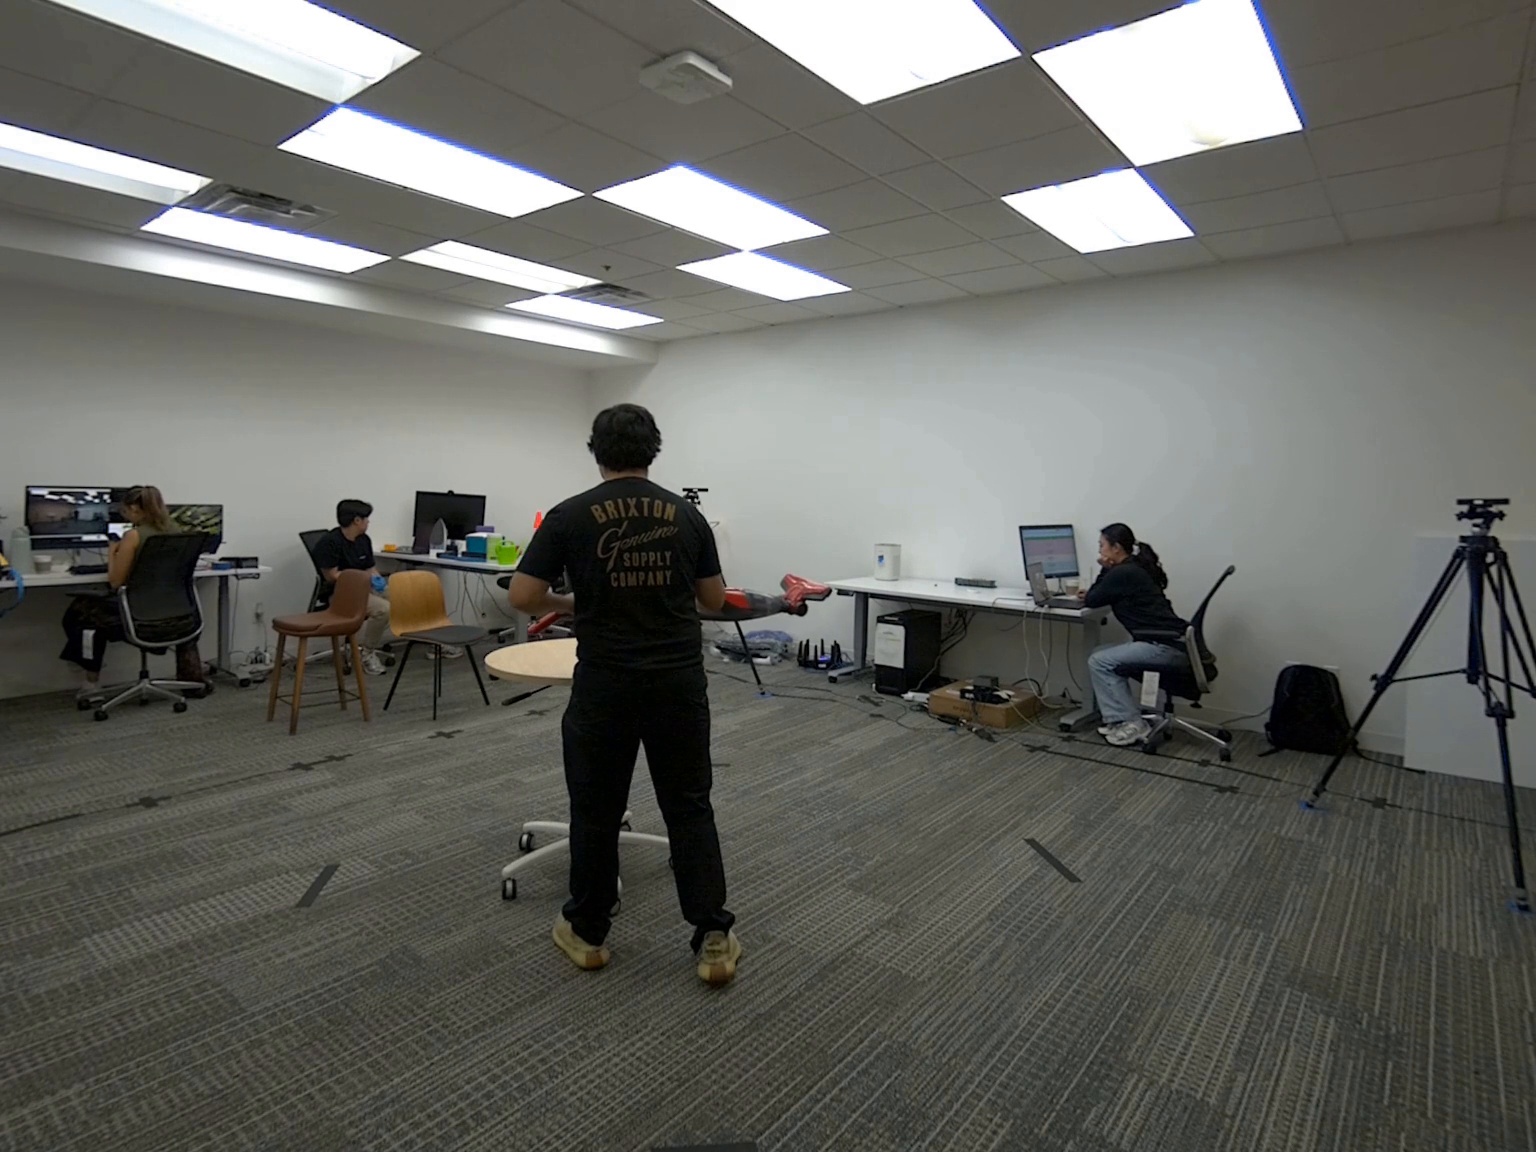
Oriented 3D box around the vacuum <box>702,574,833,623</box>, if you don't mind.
[{"bbox_3d":[-0.295,0.124,2.876,1.021,0.142,0.262,-6,14,-33],"label":"vacuum"}]
